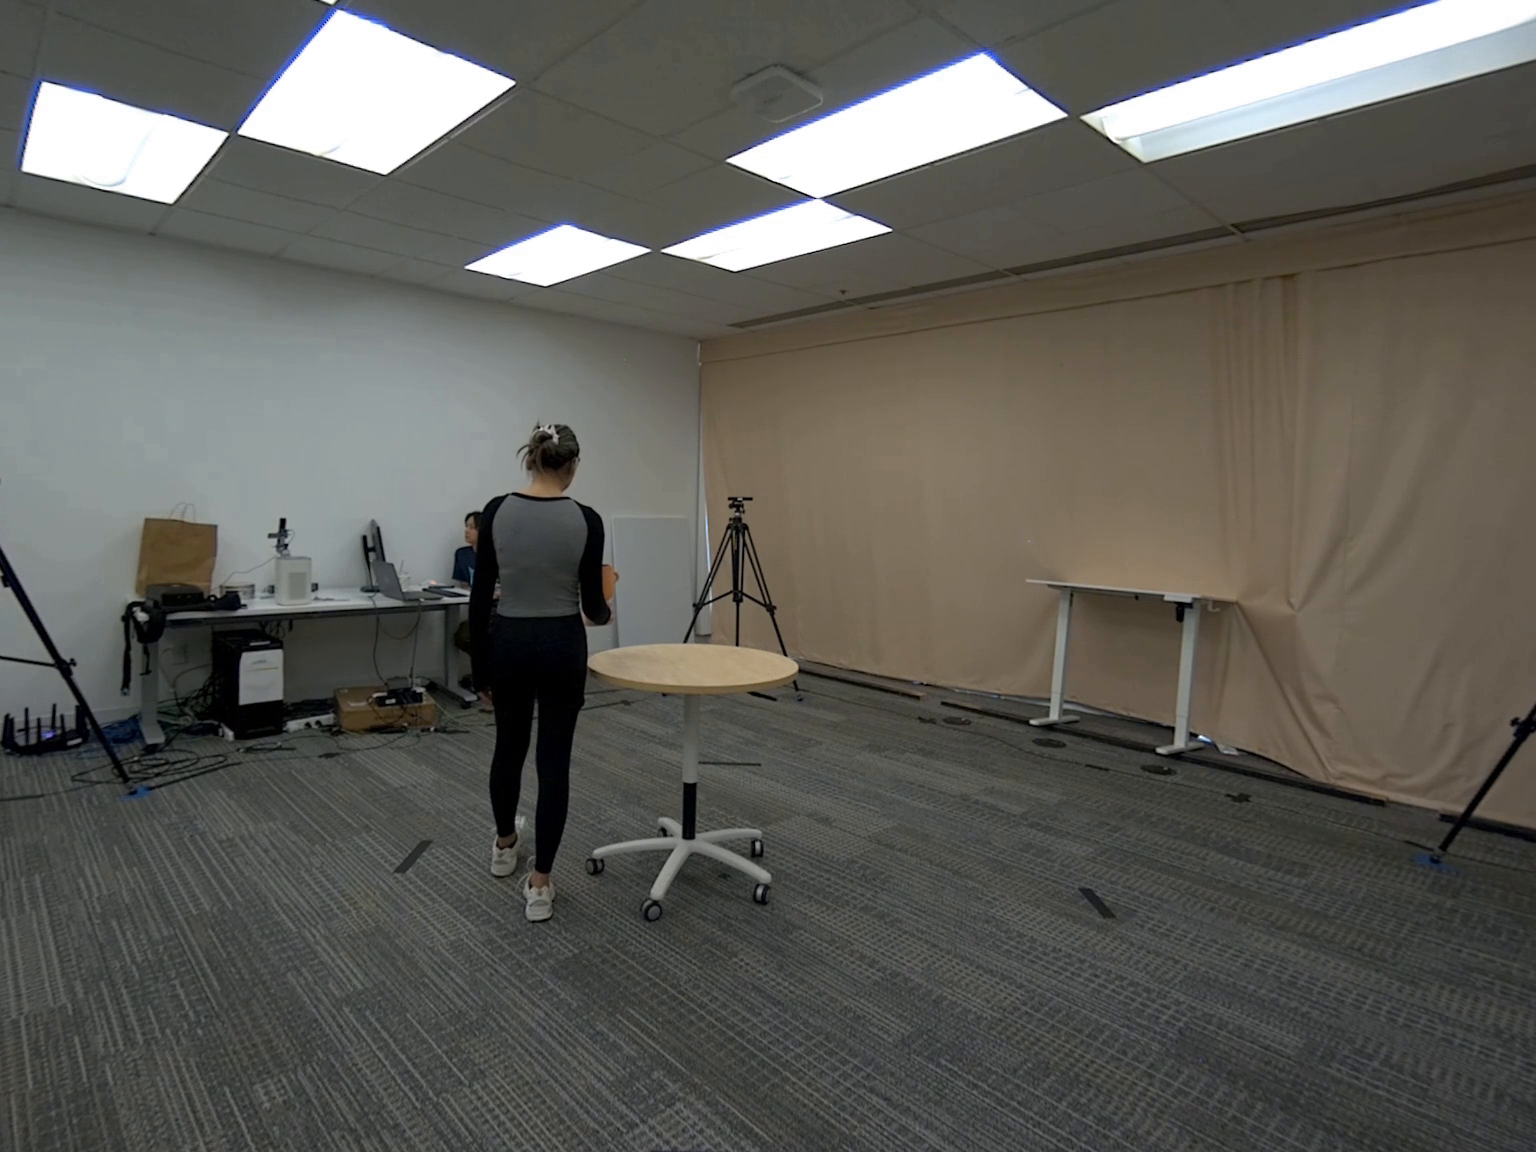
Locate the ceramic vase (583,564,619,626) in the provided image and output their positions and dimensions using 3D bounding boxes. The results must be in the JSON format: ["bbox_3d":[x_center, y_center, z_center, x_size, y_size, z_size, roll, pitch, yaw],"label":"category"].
[{"bbox_3d":[-0.644,0.074,3.136,0.159,0.219,0.135,-3,4,-1],"label":"ceramic vase"}]
